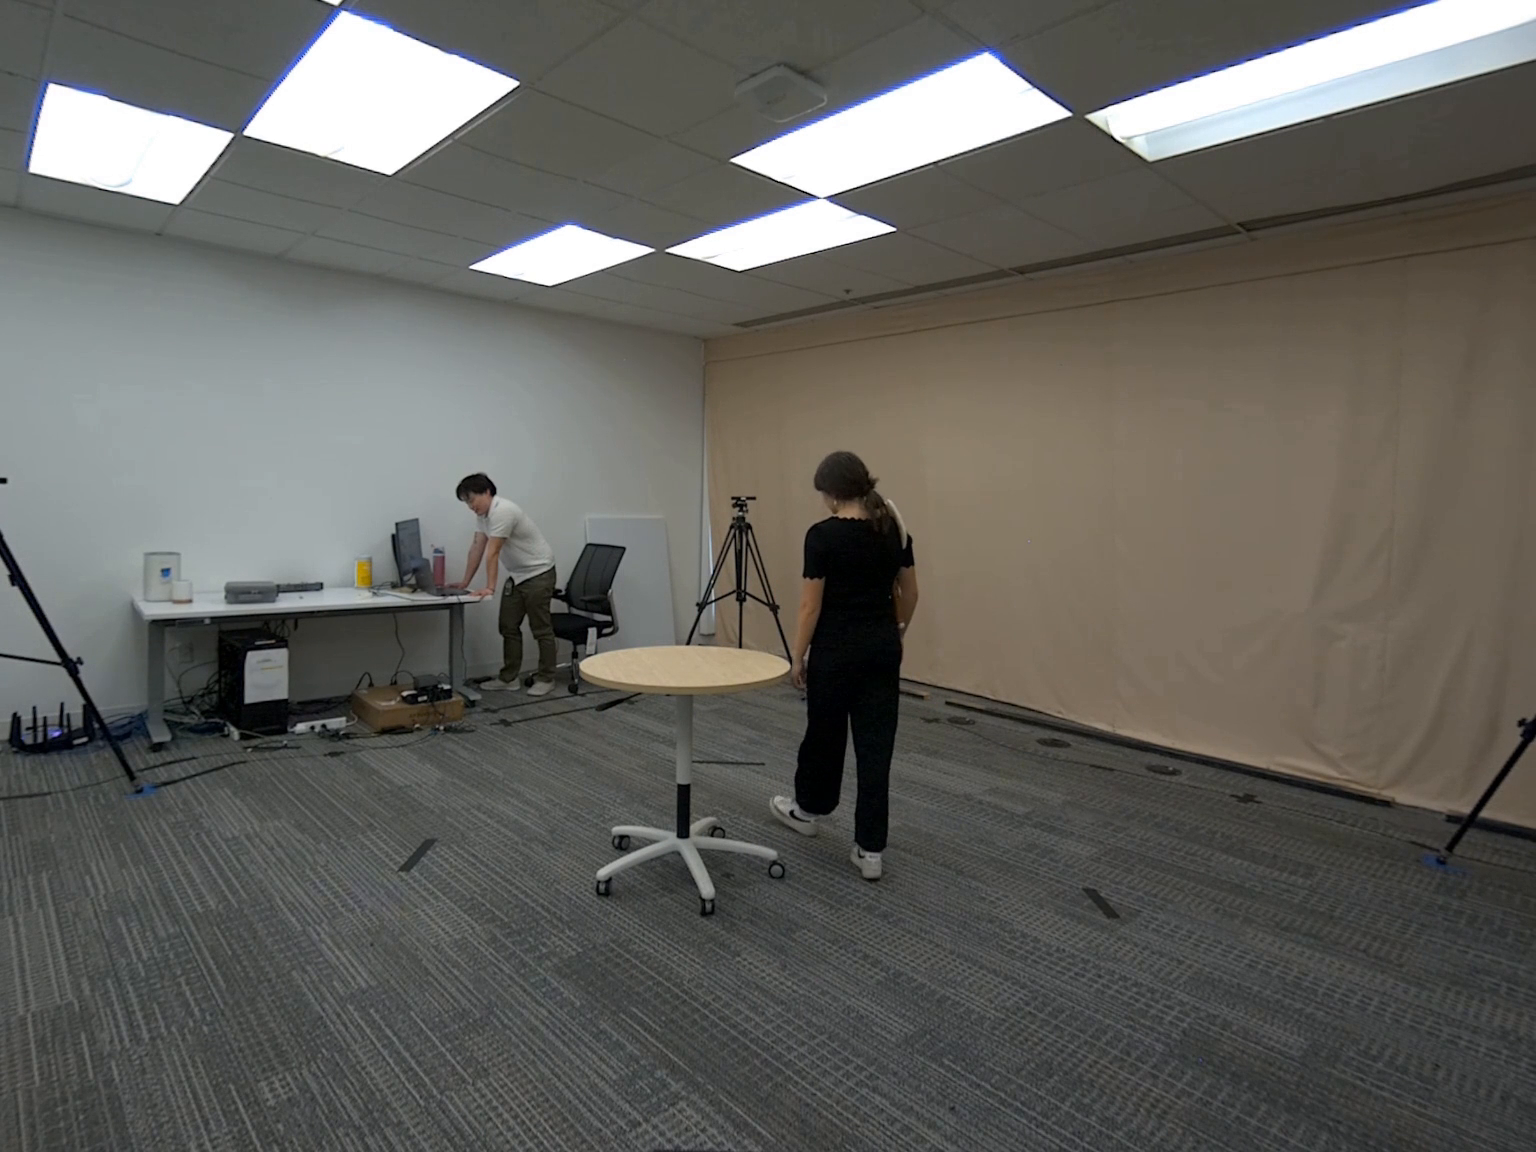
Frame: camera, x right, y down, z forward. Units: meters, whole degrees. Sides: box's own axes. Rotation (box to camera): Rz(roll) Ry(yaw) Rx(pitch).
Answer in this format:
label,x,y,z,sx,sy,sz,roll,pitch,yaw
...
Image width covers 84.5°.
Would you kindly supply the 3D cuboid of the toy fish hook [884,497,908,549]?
label,x,y,z,sx,sy,sz,roll,pitch,yaw
toy fish hook,0.484,-0.044,3.269,0.048,0.507,0.227,-10,-1,-20
